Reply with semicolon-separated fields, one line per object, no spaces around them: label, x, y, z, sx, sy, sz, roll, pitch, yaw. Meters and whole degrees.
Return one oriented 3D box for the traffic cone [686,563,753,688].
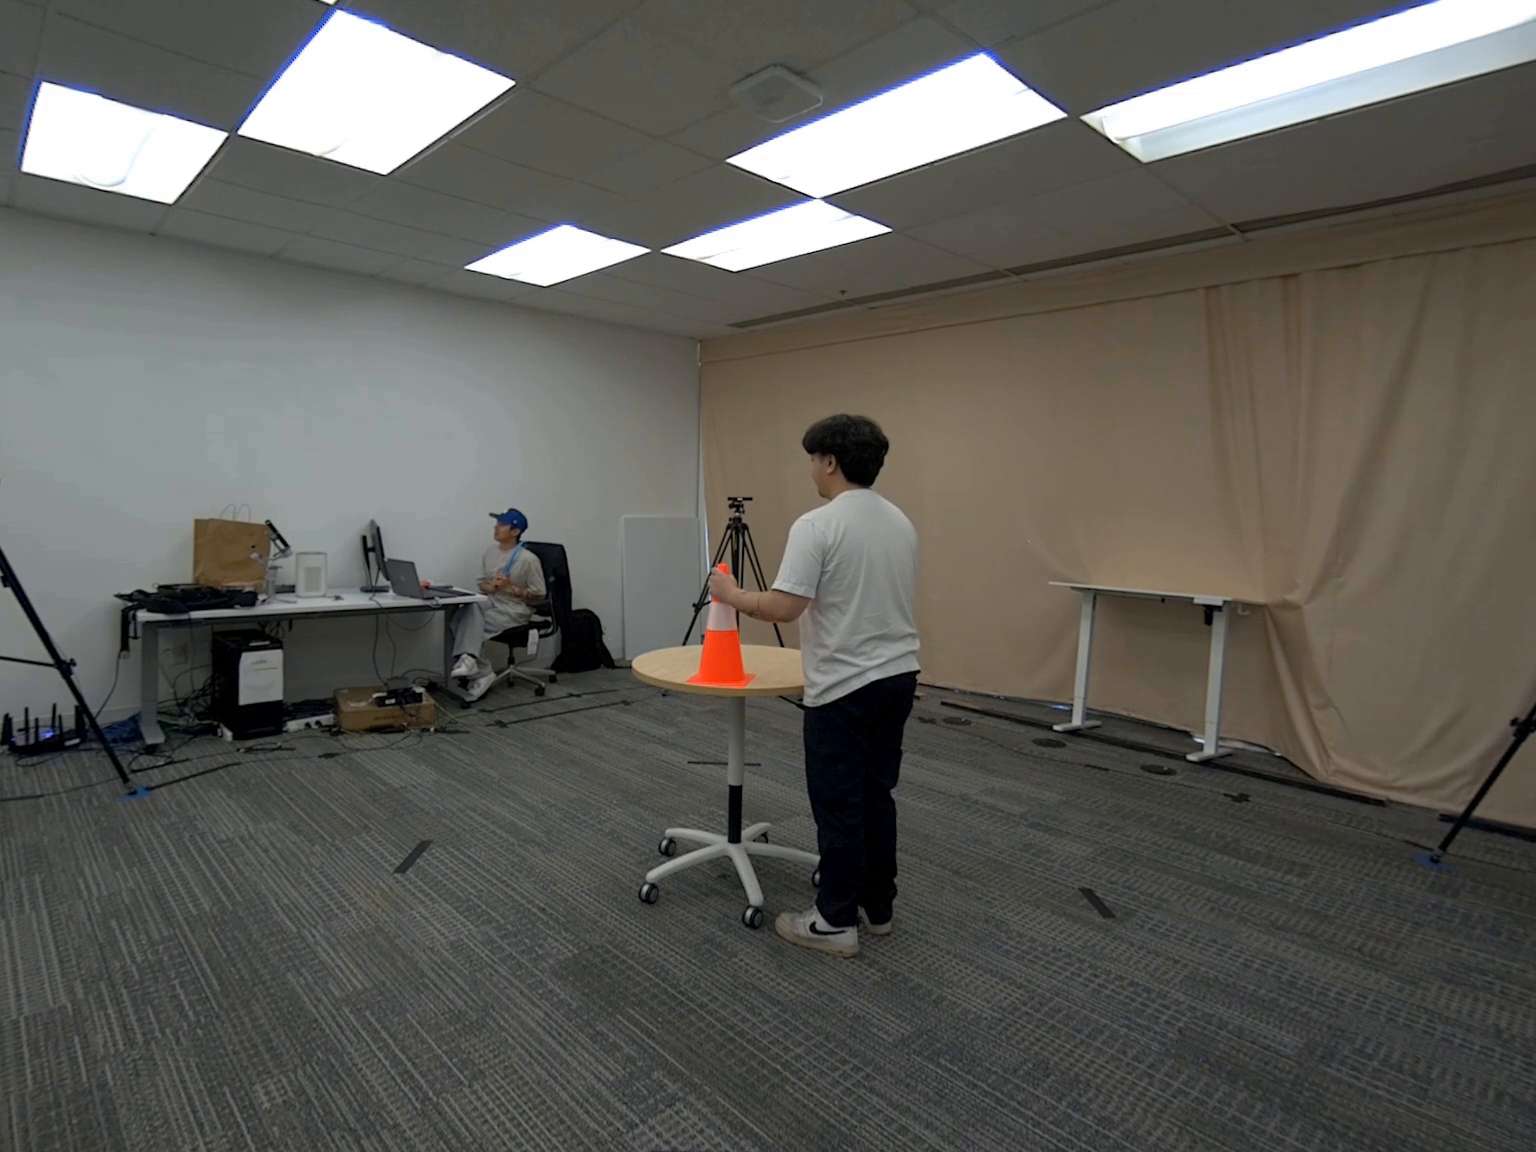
traffic cone;-0.149;0.152;2.781;0.205;0.383;0.203;2;3;13
